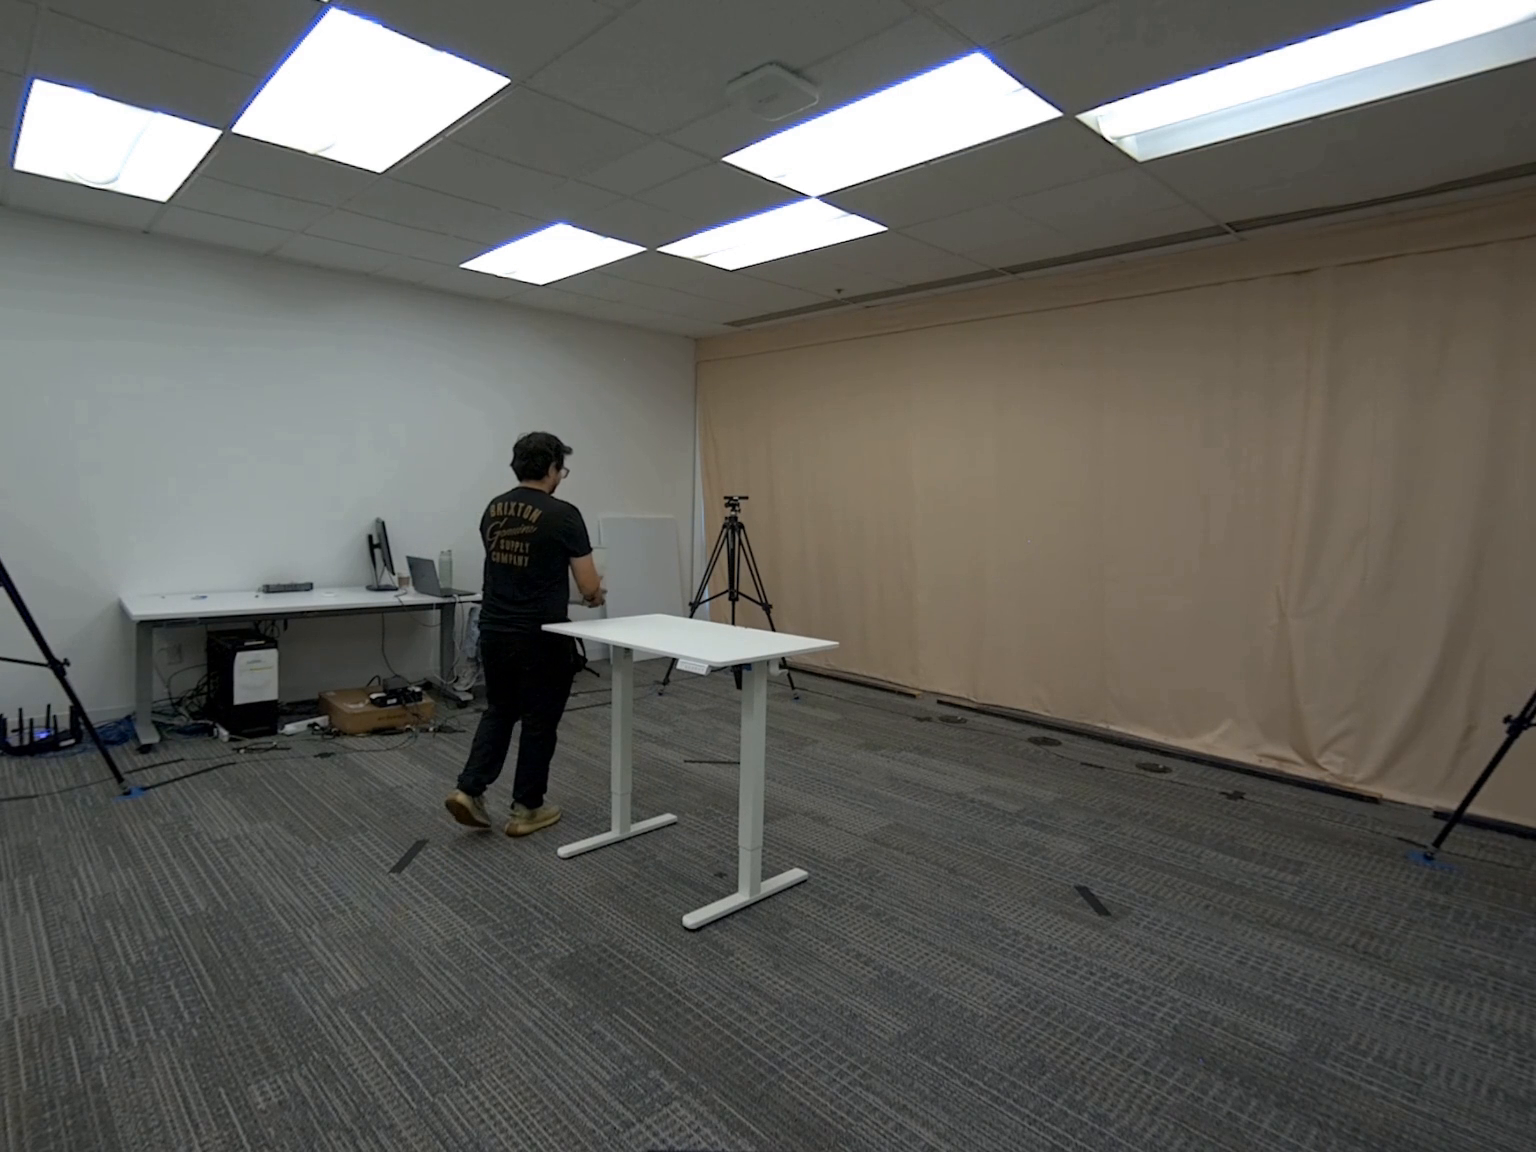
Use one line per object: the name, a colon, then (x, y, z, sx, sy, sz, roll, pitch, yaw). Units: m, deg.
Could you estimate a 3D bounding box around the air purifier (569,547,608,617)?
air purifier: (-0.839, -0.003, 3.808, 0.173, 0.265, 0.169, 3, 4, 17)
